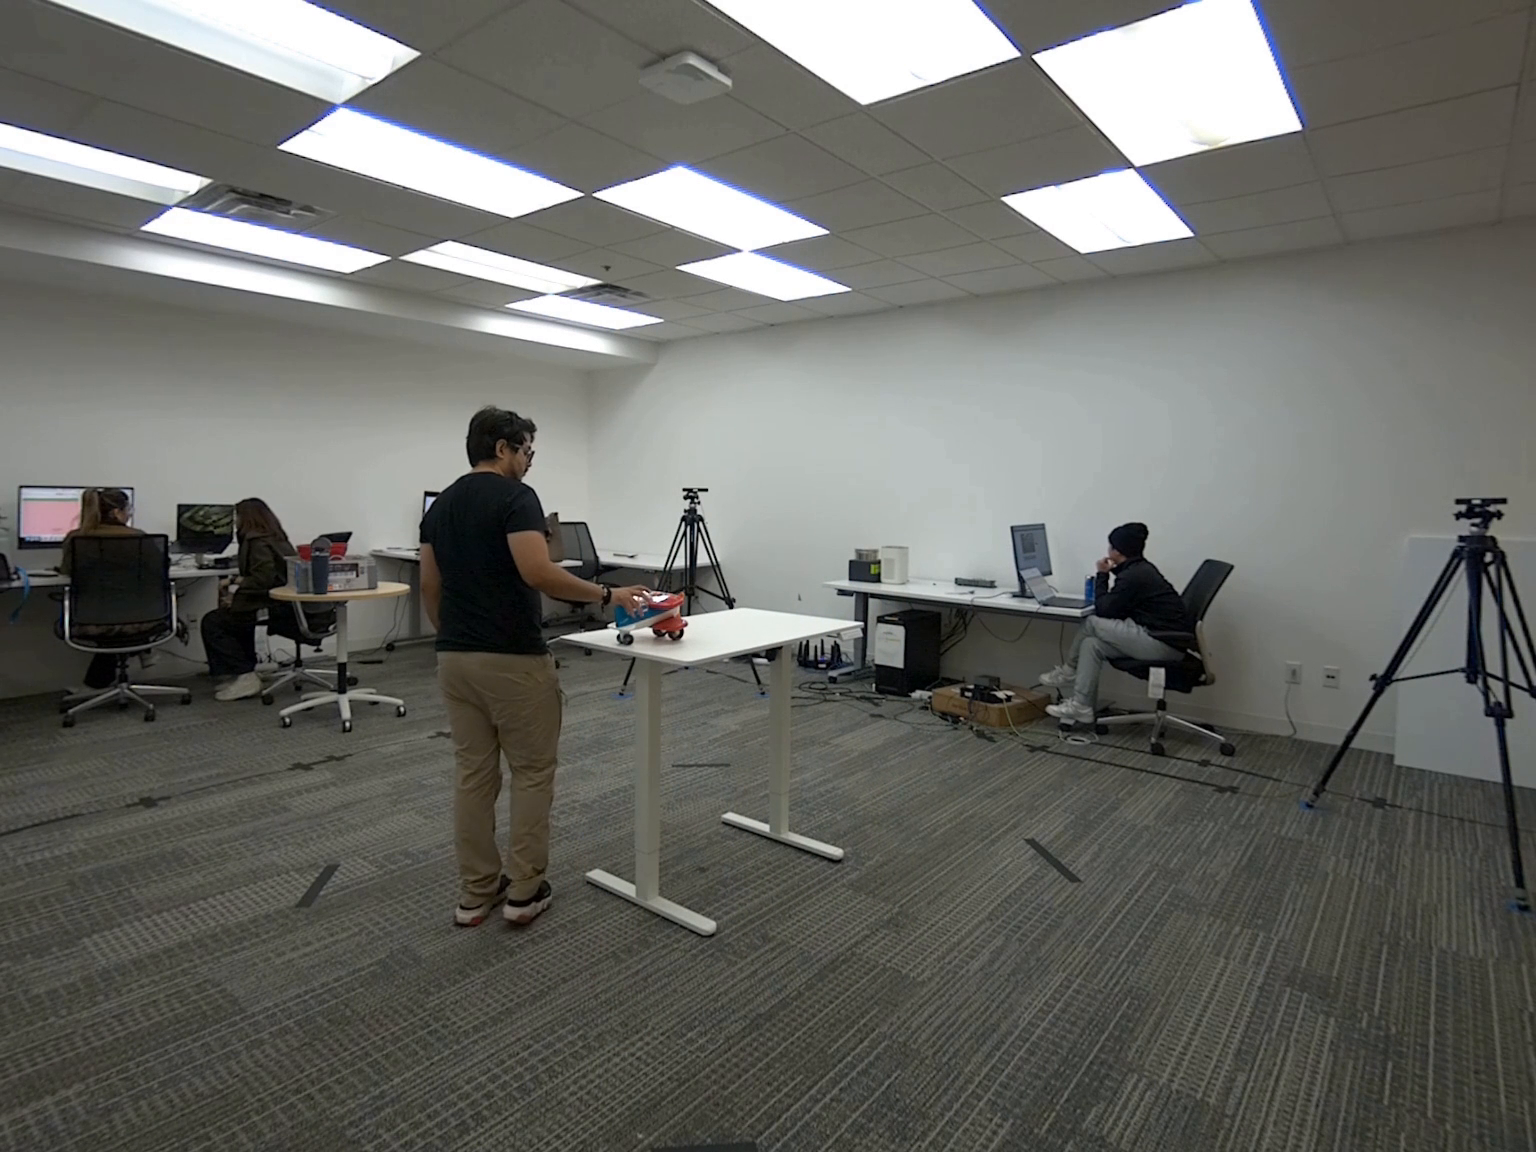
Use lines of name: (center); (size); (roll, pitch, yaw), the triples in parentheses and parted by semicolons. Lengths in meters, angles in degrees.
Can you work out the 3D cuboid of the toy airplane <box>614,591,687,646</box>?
toy airplane: (-0.394, 0.141, 2.811); (0.256, 0.156, 0.254); (1, 4, 19)
